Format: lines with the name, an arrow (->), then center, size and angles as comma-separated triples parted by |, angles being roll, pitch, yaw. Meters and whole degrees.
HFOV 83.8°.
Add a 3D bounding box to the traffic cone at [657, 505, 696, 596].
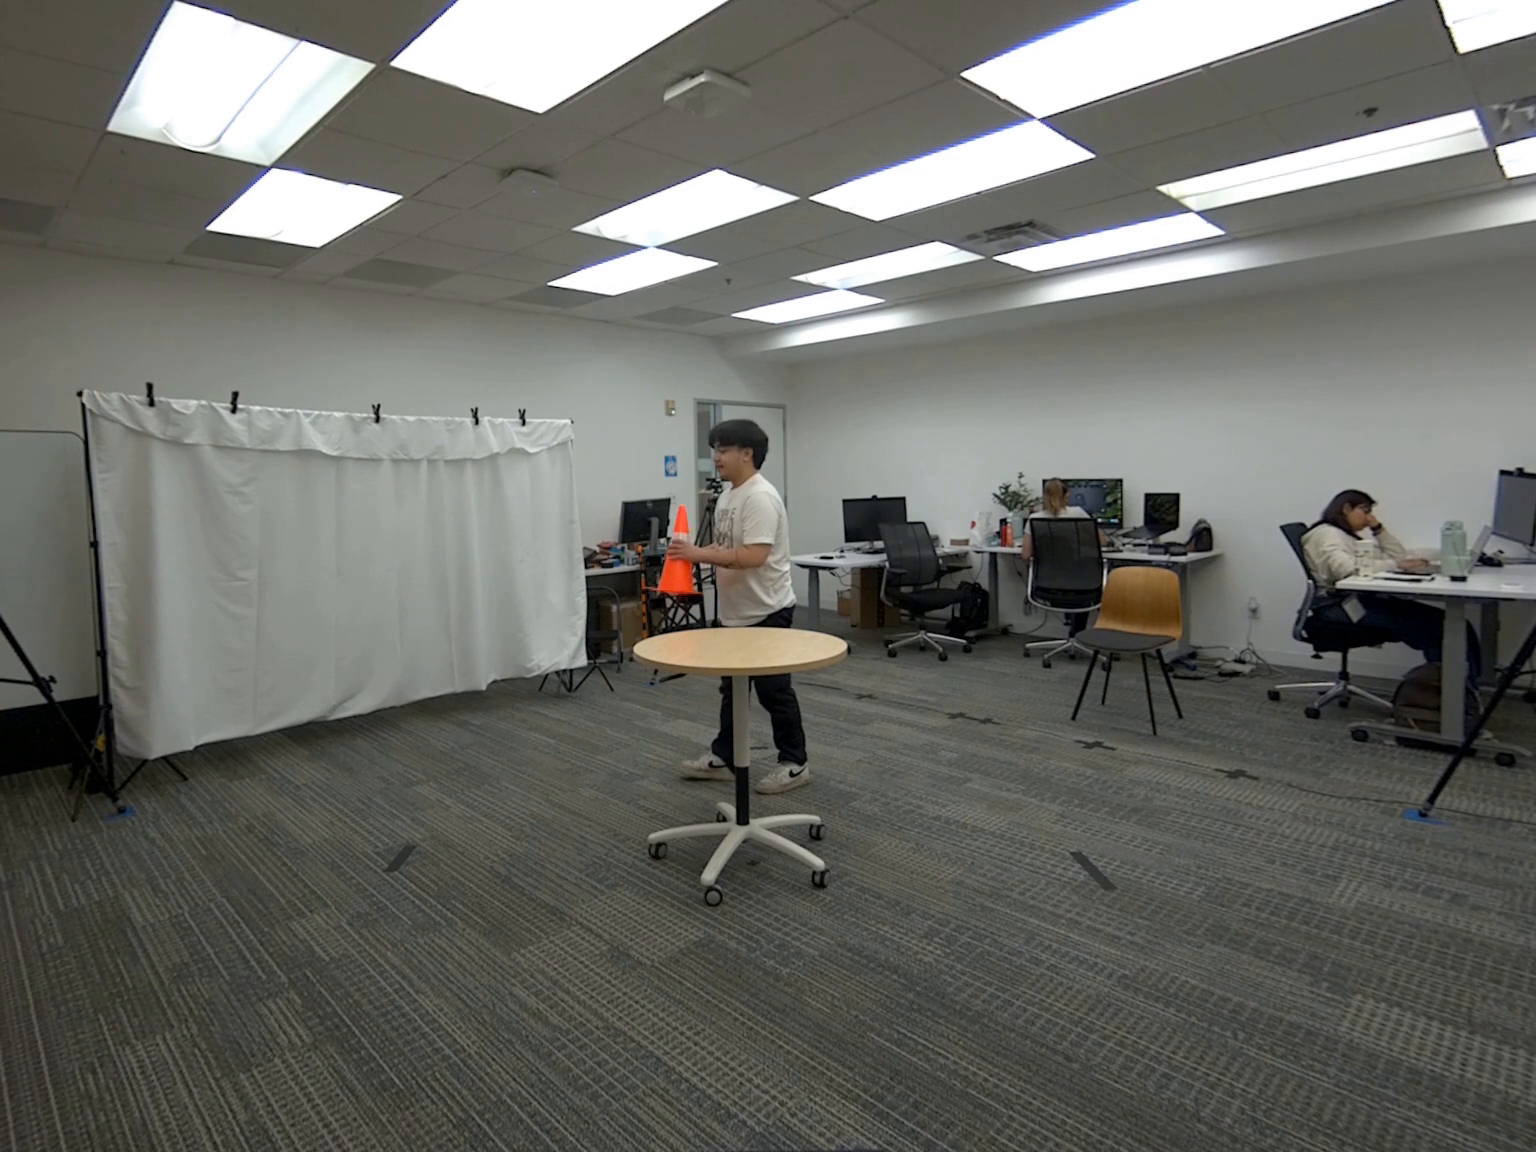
traffic cone -> -0.398, -0.119, 3.774 | 0.209, 0.385, 0.199 | -3, -6, 35
